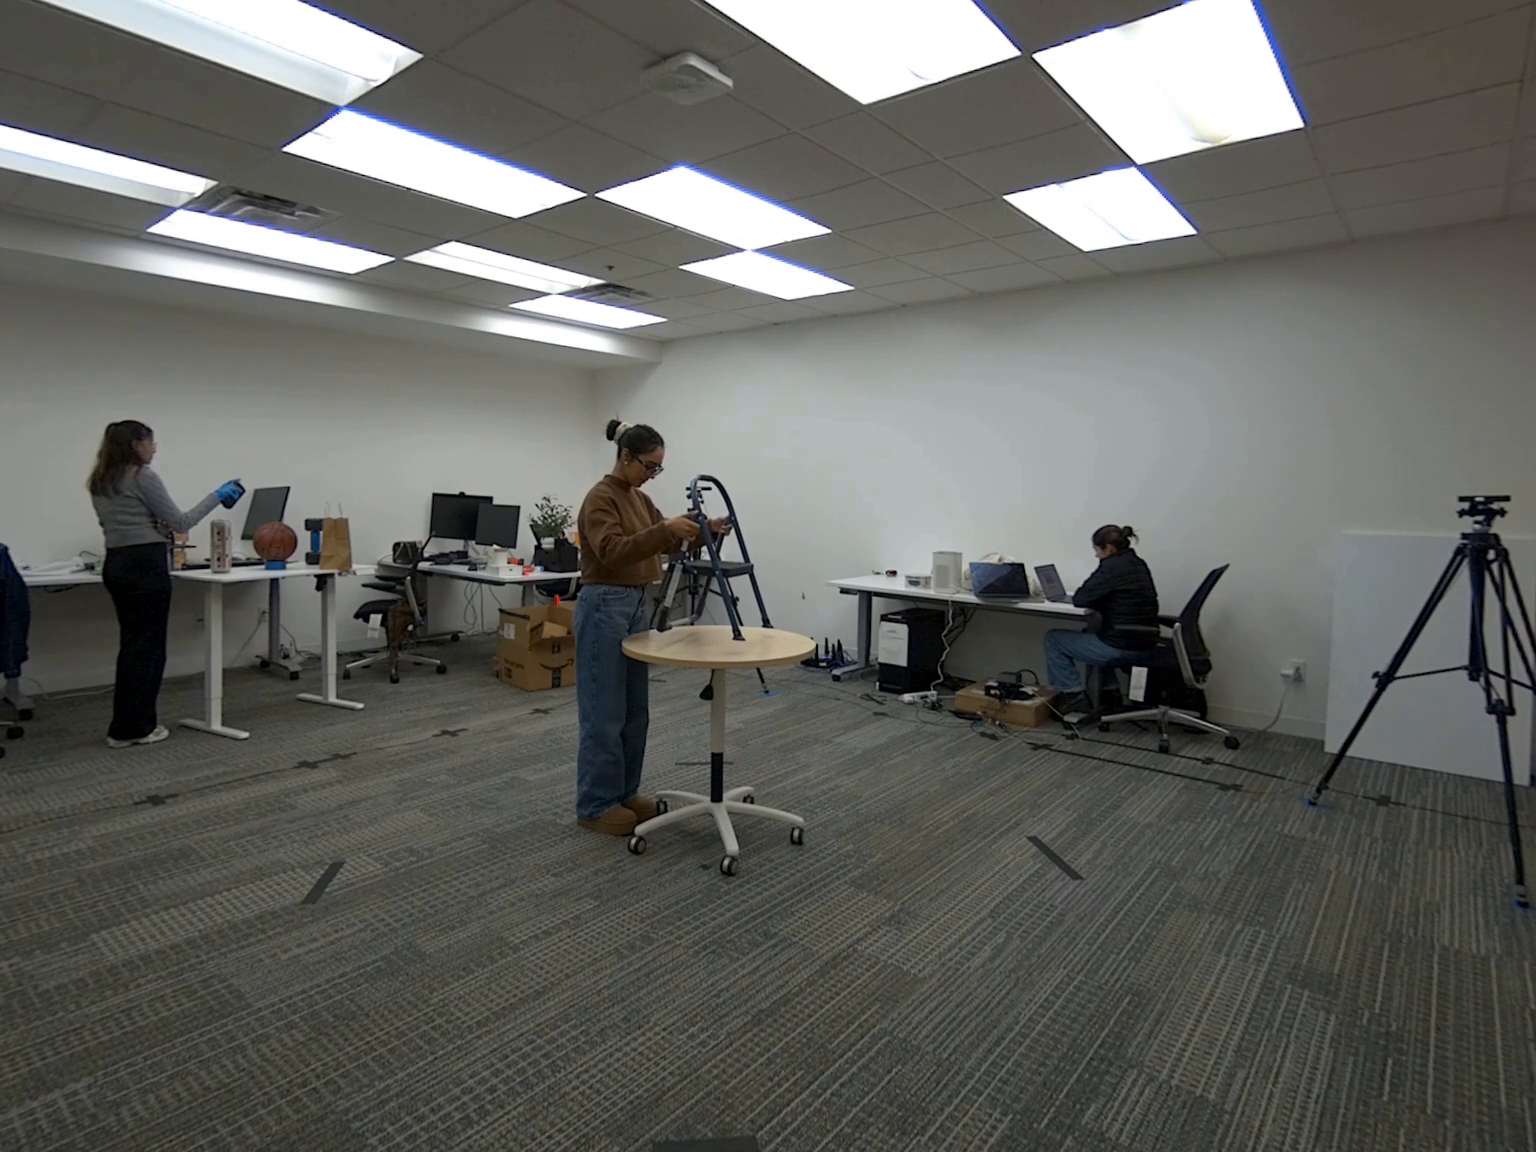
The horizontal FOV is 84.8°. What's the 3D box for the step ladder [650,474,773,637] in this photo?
[{"bbox_3d":[-0.202,-0.088,3.346,0.356,0.605,0.423,3,2,17],"label":"step ladder"}]
